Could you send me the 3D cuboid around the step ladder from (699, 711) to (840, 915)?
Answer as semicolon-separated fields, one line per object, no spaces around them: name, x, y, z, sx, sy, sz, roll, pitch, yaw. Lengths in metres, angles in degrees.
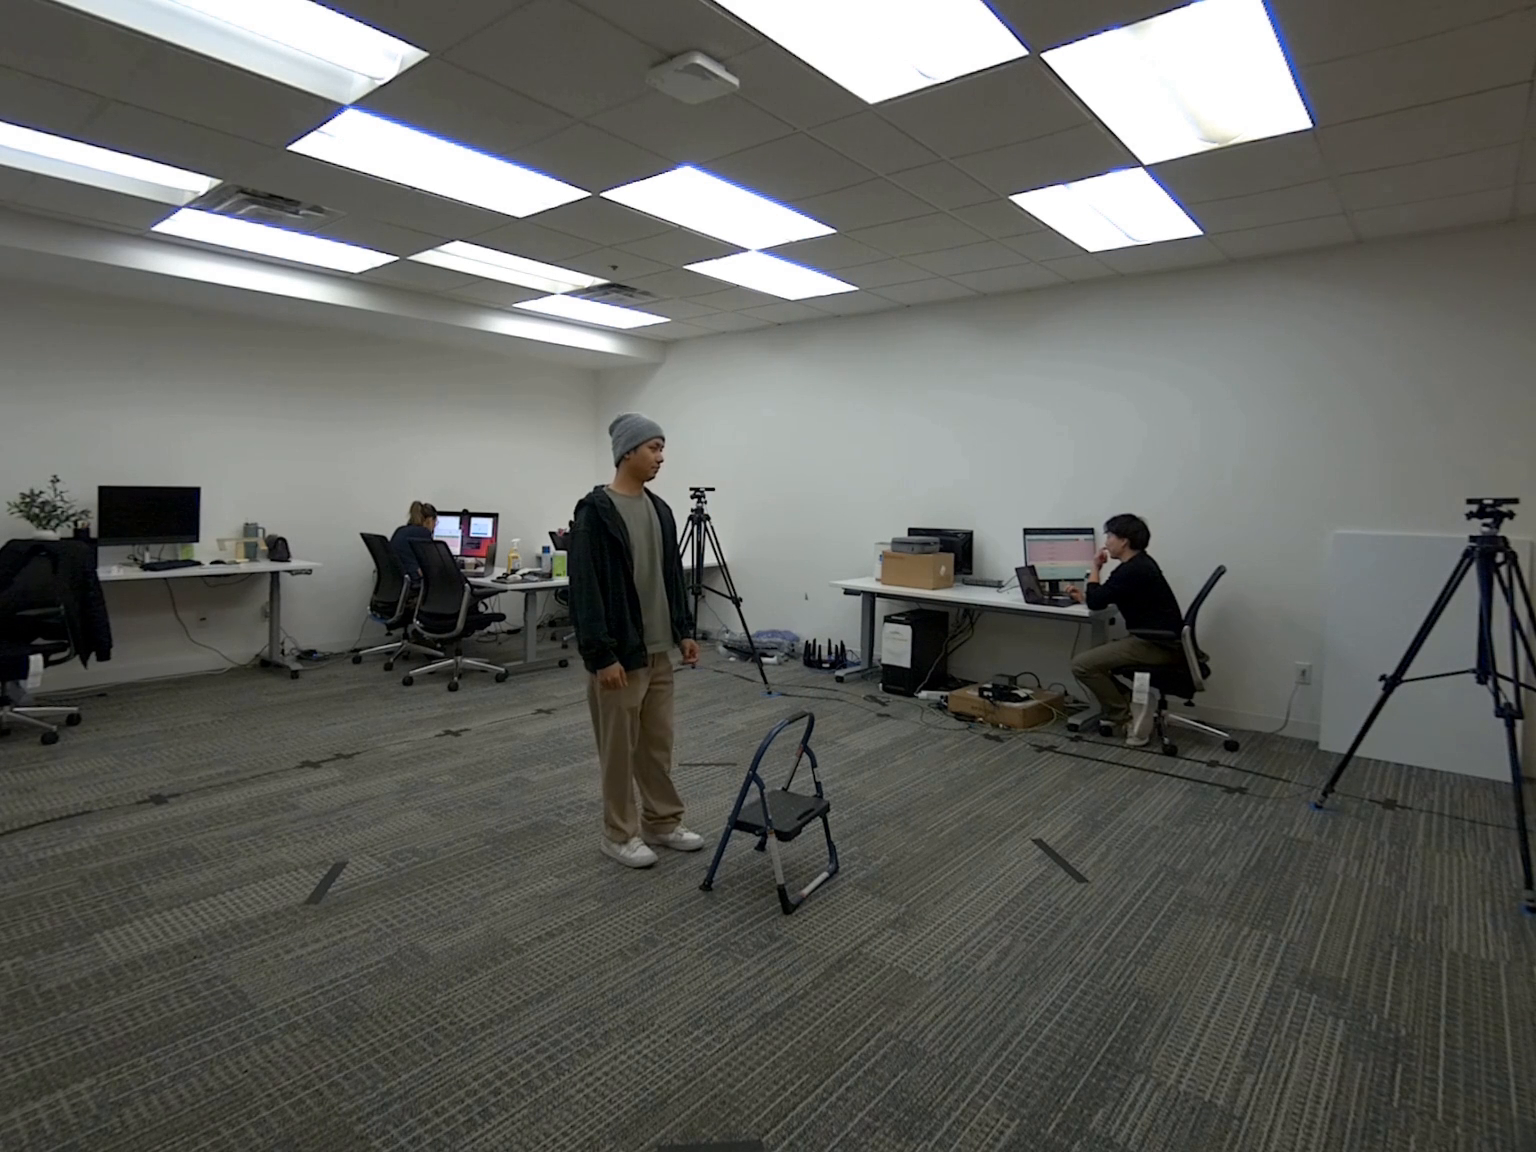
step ladder;0.015;0.778;3.016;0.359;0.604;0.419;3;4;29
